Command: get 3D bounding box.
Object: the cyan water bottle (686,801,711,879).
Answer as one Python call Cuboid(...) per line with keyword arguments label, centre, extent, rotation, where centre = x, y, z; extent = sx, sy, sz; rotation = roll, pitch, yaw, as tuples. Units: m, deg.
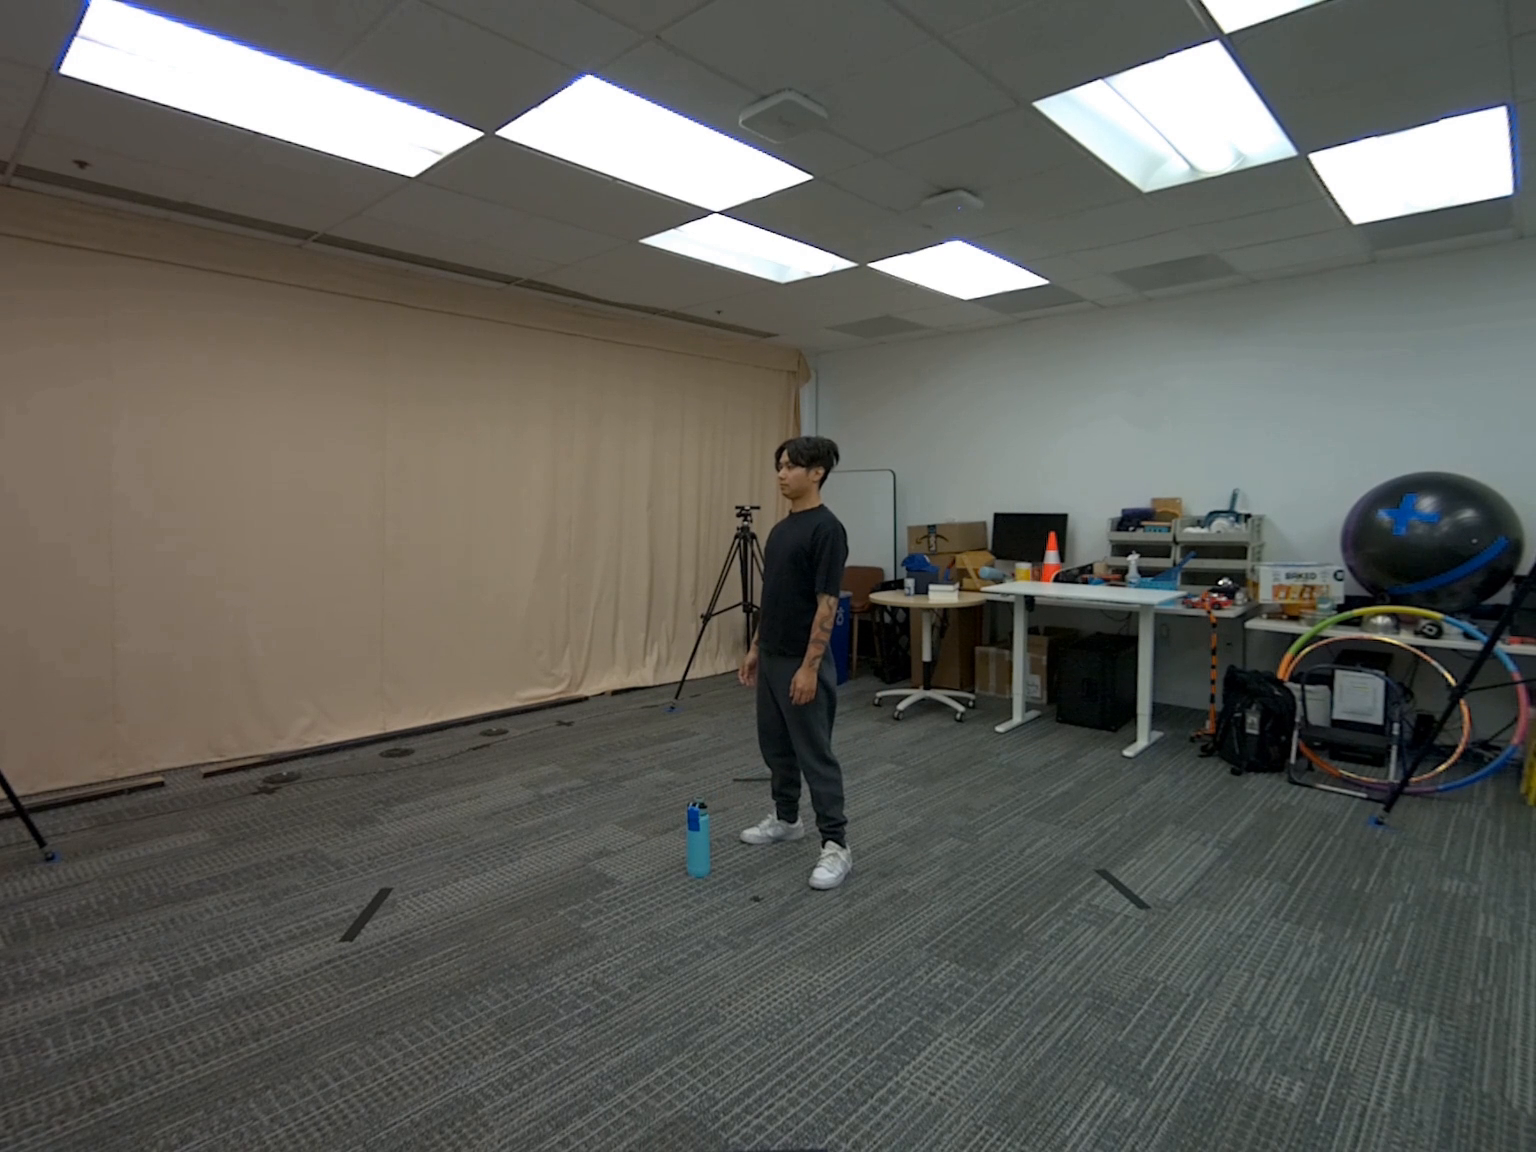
Cuboid(label="cyan water bottle", centre=(-0.262, 0.994, 3.201), extent=(0.092, 0.283, 0.092), rotation=(0, 3, -2))
